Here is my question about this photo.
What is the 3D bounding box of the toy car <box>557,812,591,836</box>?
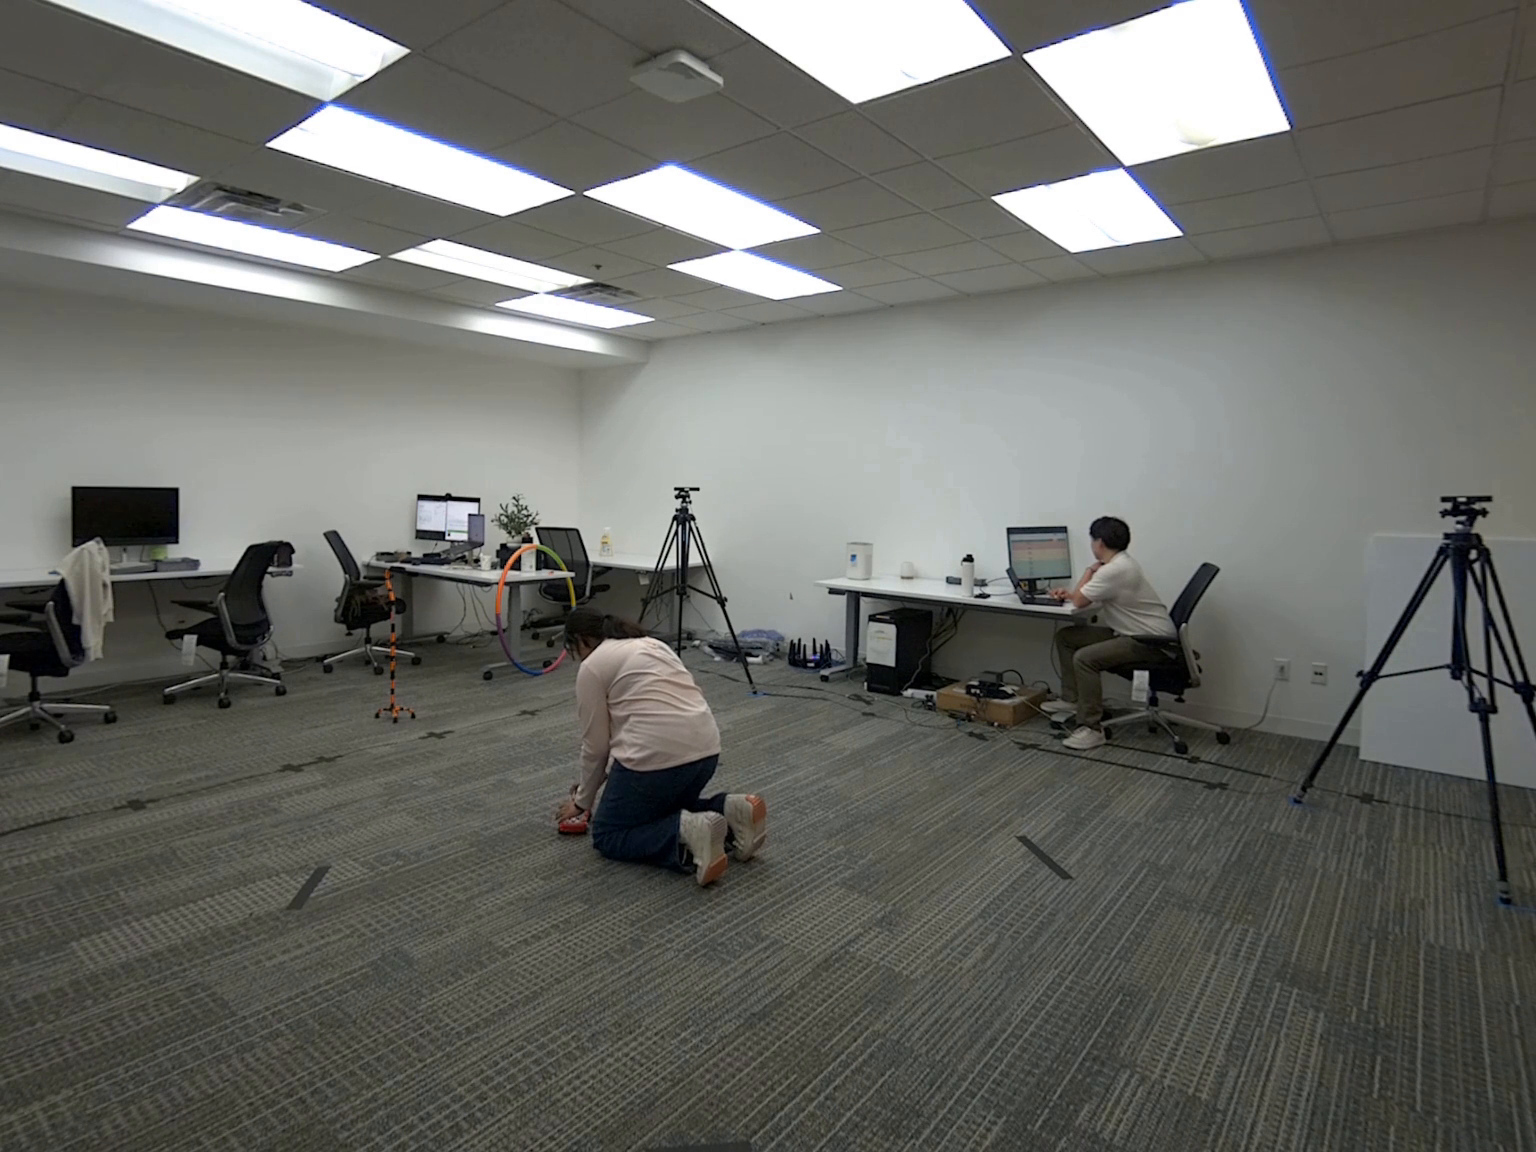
[{"bbox_3d":[-0.799,0.987,3.497,0.130,0.082,0.259,-1,17,-3],"label":"toy car"}]
